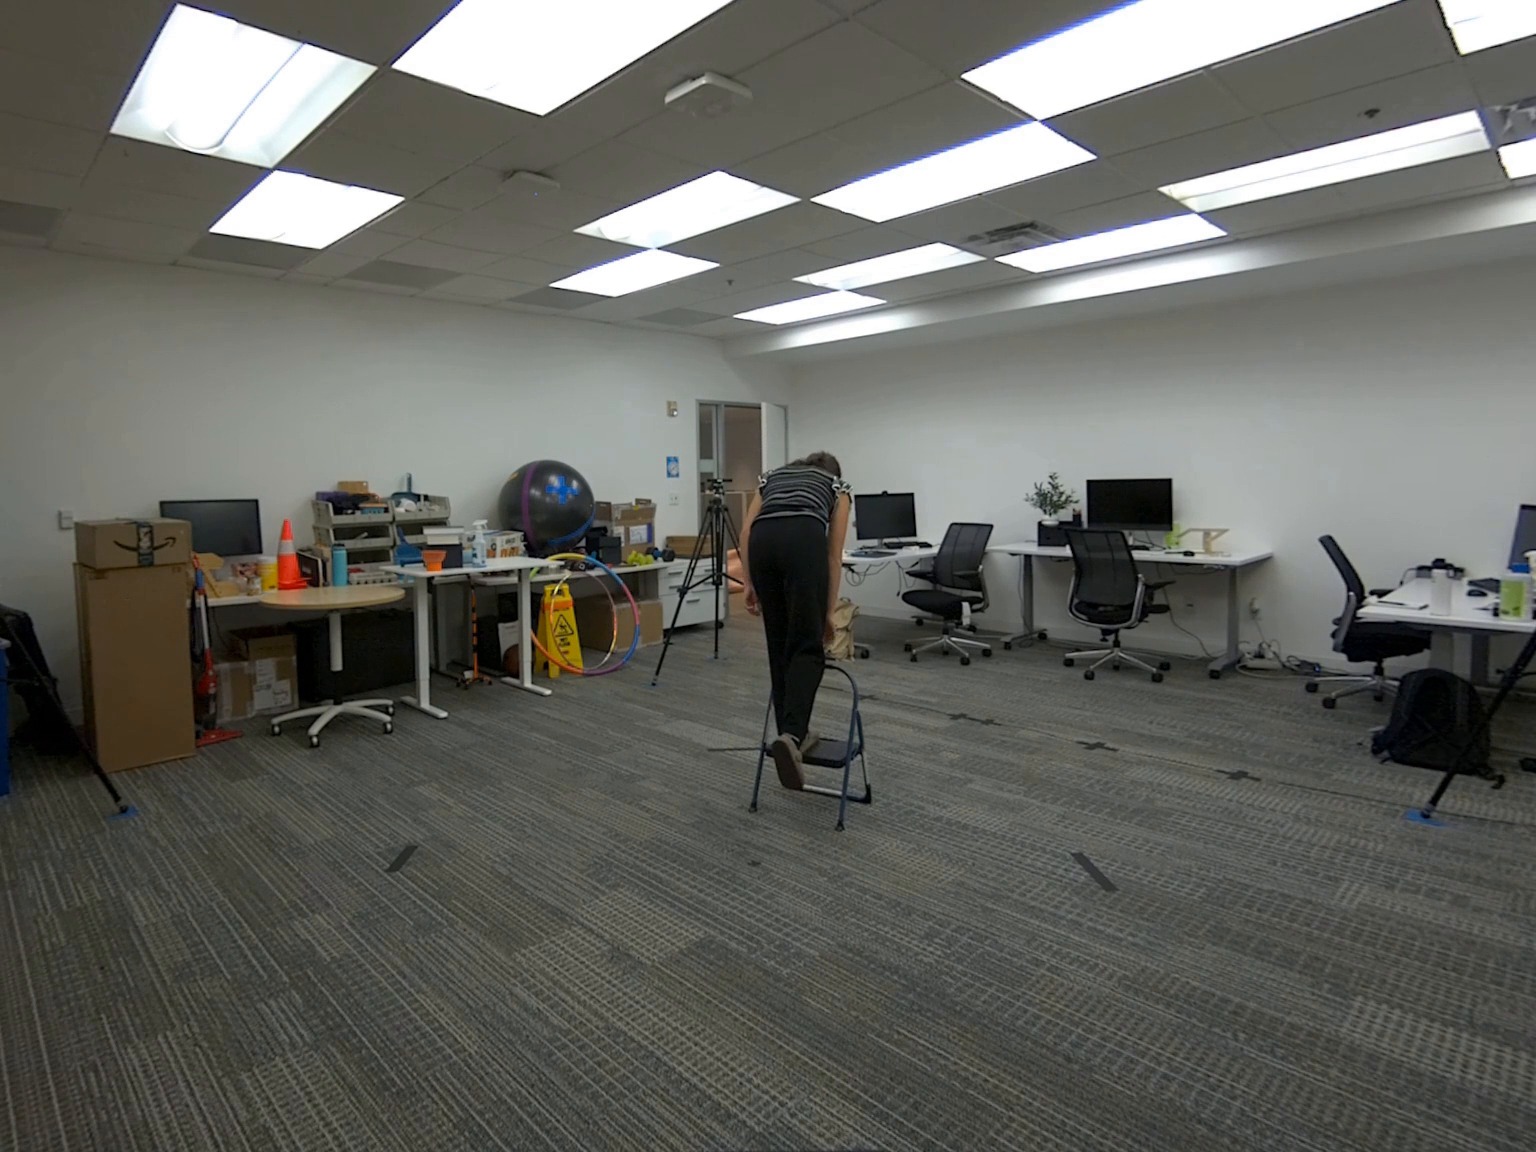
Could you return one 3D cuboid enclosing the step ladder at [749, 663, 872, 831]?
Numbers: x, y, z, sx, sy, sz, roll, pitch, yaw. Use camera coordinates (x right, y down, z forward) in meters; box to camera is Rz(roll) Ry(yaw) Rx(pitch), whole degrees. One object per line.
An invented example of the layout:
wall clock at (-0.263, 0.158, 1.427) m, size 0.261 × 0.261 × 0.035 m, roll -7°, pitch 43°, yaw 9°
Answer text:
step ladder at (0.185, 0.683, 3.616) m, size 0.442 × 0.603 × 0.341 m, roll 3°, pitch 6°, yaw 30°
